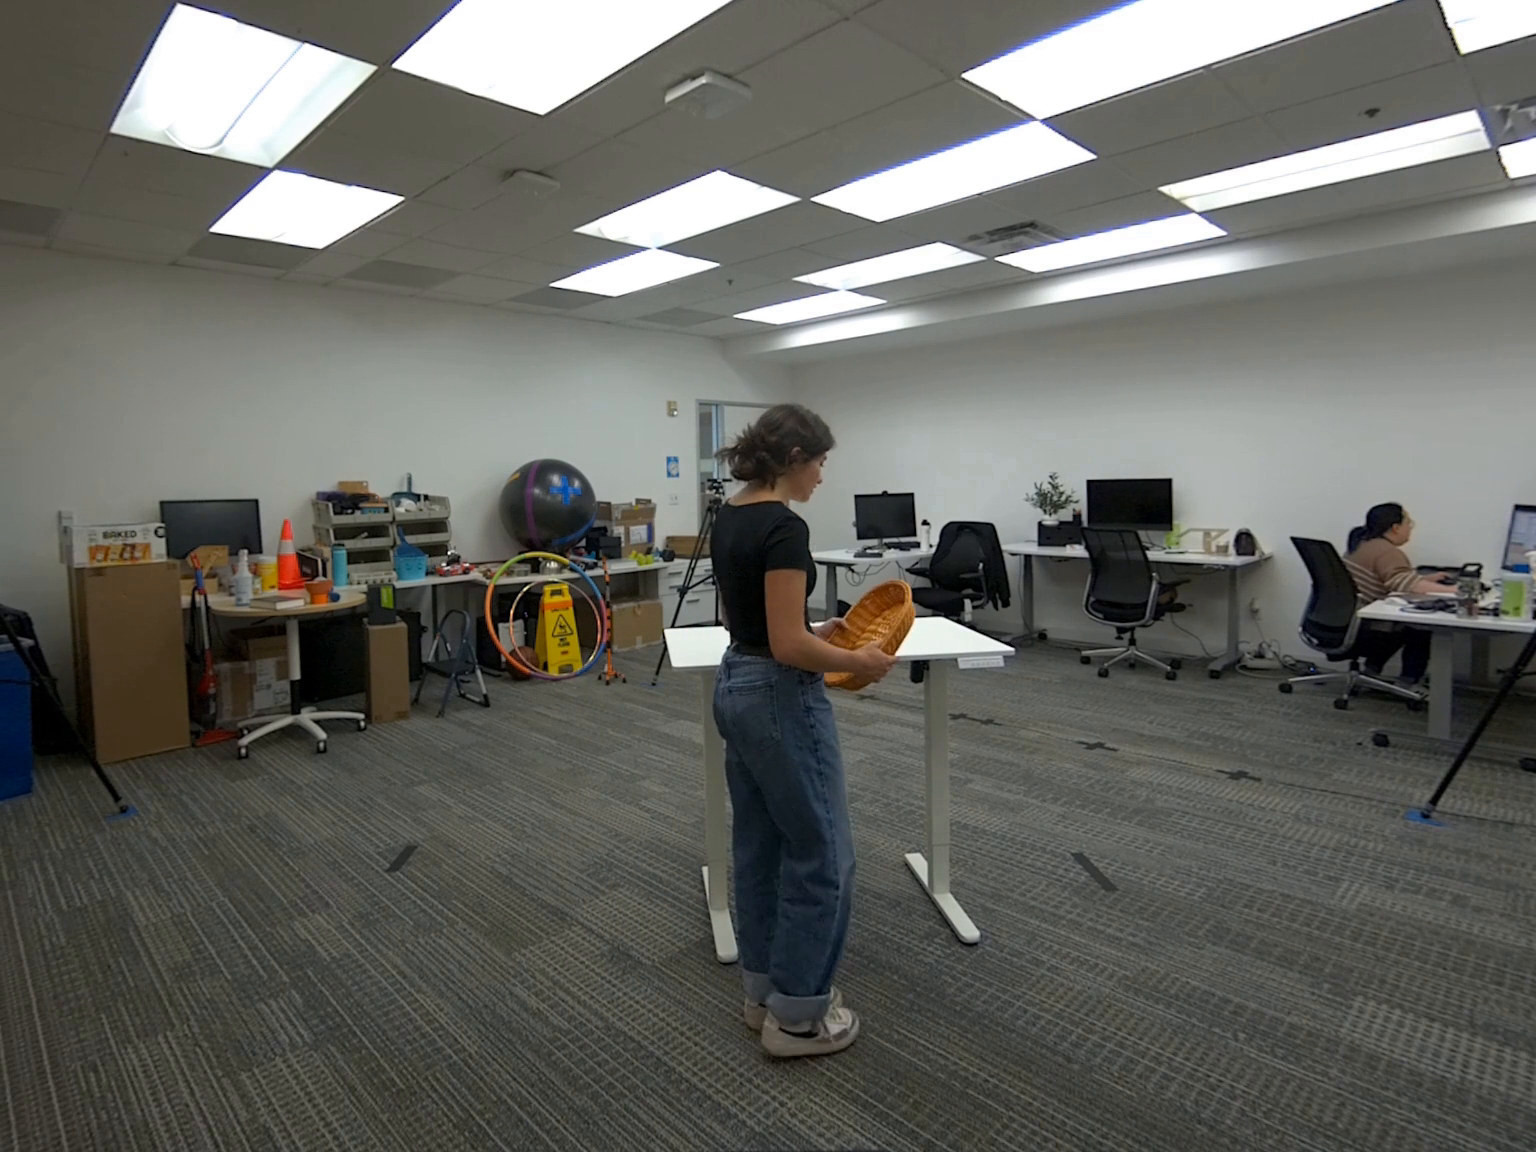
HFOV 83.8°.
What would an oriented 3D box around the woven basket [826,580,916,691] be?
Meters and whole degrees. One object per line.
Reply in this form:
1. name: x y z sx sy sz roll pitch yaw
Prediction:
1. woven basket: 0.260 0.164 2.233 0.071 0.350 0.258 44 -9 -21
